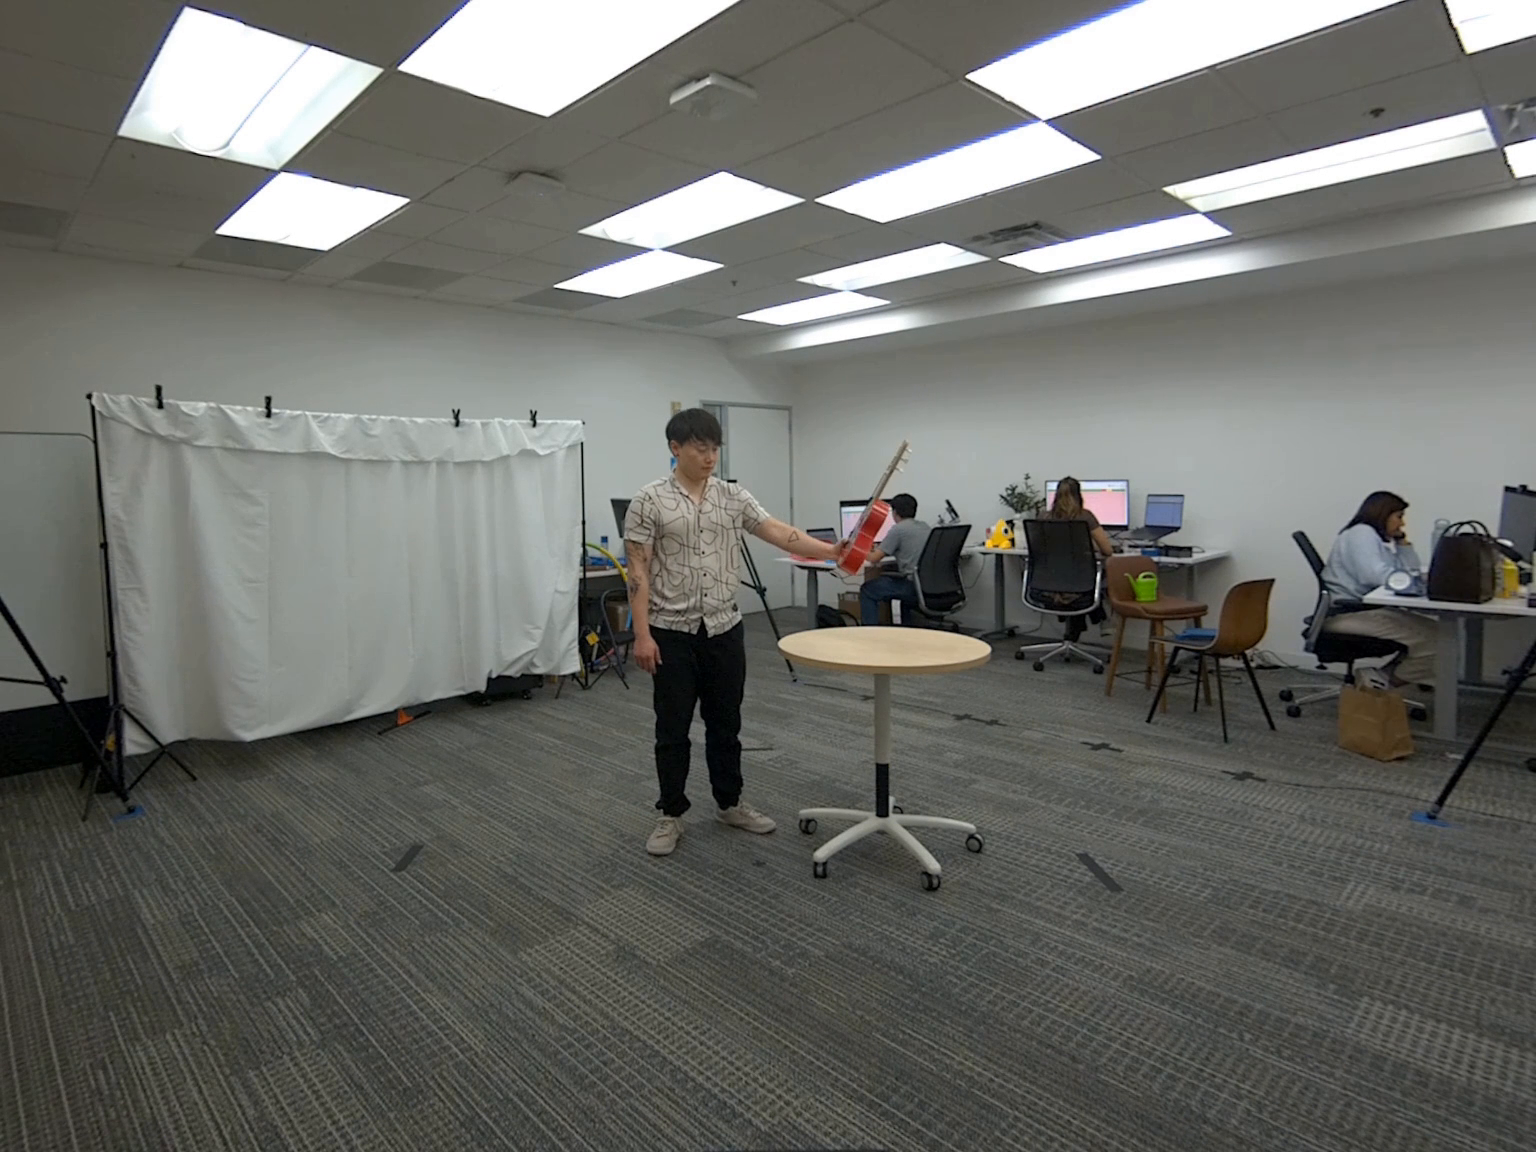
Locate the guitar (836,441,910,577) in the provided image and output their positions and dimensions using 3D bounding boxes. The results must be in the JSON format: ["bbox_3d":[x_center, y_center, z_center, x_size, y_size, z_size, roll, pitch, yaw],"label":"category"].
[{"bbox_3d":[0.378,-0.224,2.933,0.071,0.495,0.194,28,15,-2],"label":"guitar"}]
